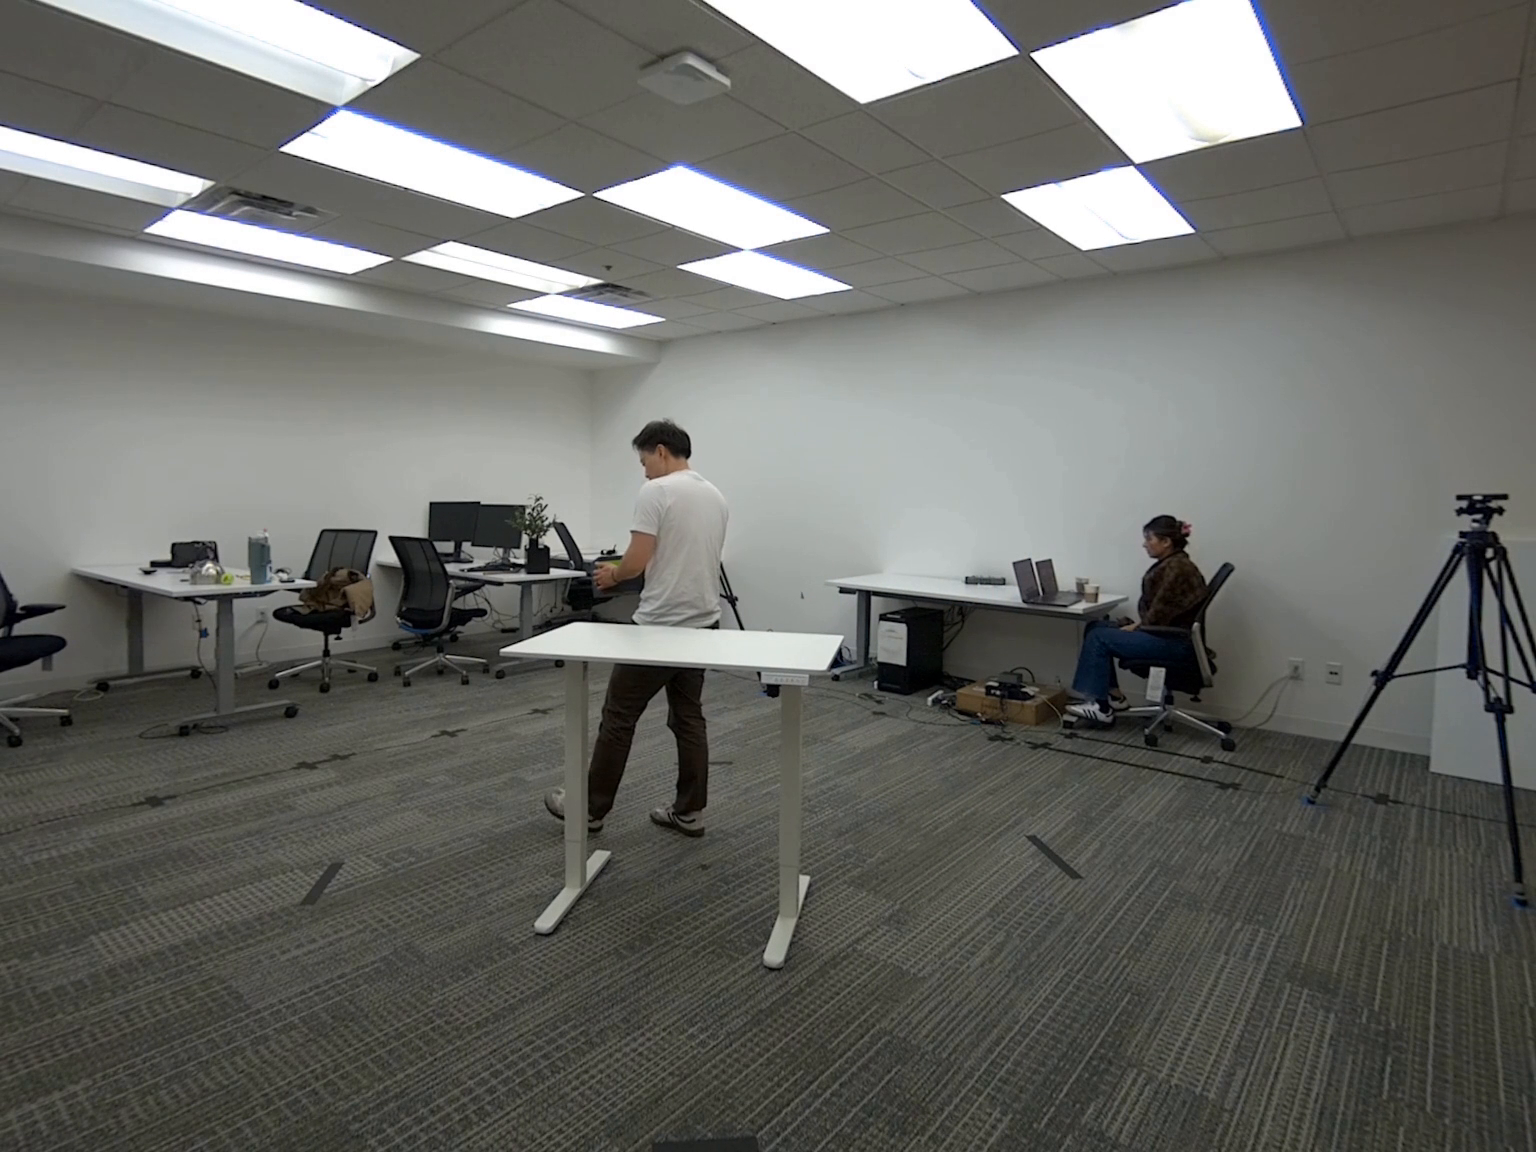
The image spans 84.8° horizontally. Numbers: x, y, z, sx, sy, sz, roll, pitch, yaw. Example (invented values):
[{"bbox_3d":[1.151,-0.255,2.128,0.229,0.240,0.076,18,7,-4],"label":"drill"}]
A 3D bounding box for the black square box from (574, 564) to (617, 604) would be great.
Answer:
[{"bbox_3d":[-0.655,-0.009,3.651,0.222,0.156,0.222,-5,-3,-31],"label":"black square box"}]
